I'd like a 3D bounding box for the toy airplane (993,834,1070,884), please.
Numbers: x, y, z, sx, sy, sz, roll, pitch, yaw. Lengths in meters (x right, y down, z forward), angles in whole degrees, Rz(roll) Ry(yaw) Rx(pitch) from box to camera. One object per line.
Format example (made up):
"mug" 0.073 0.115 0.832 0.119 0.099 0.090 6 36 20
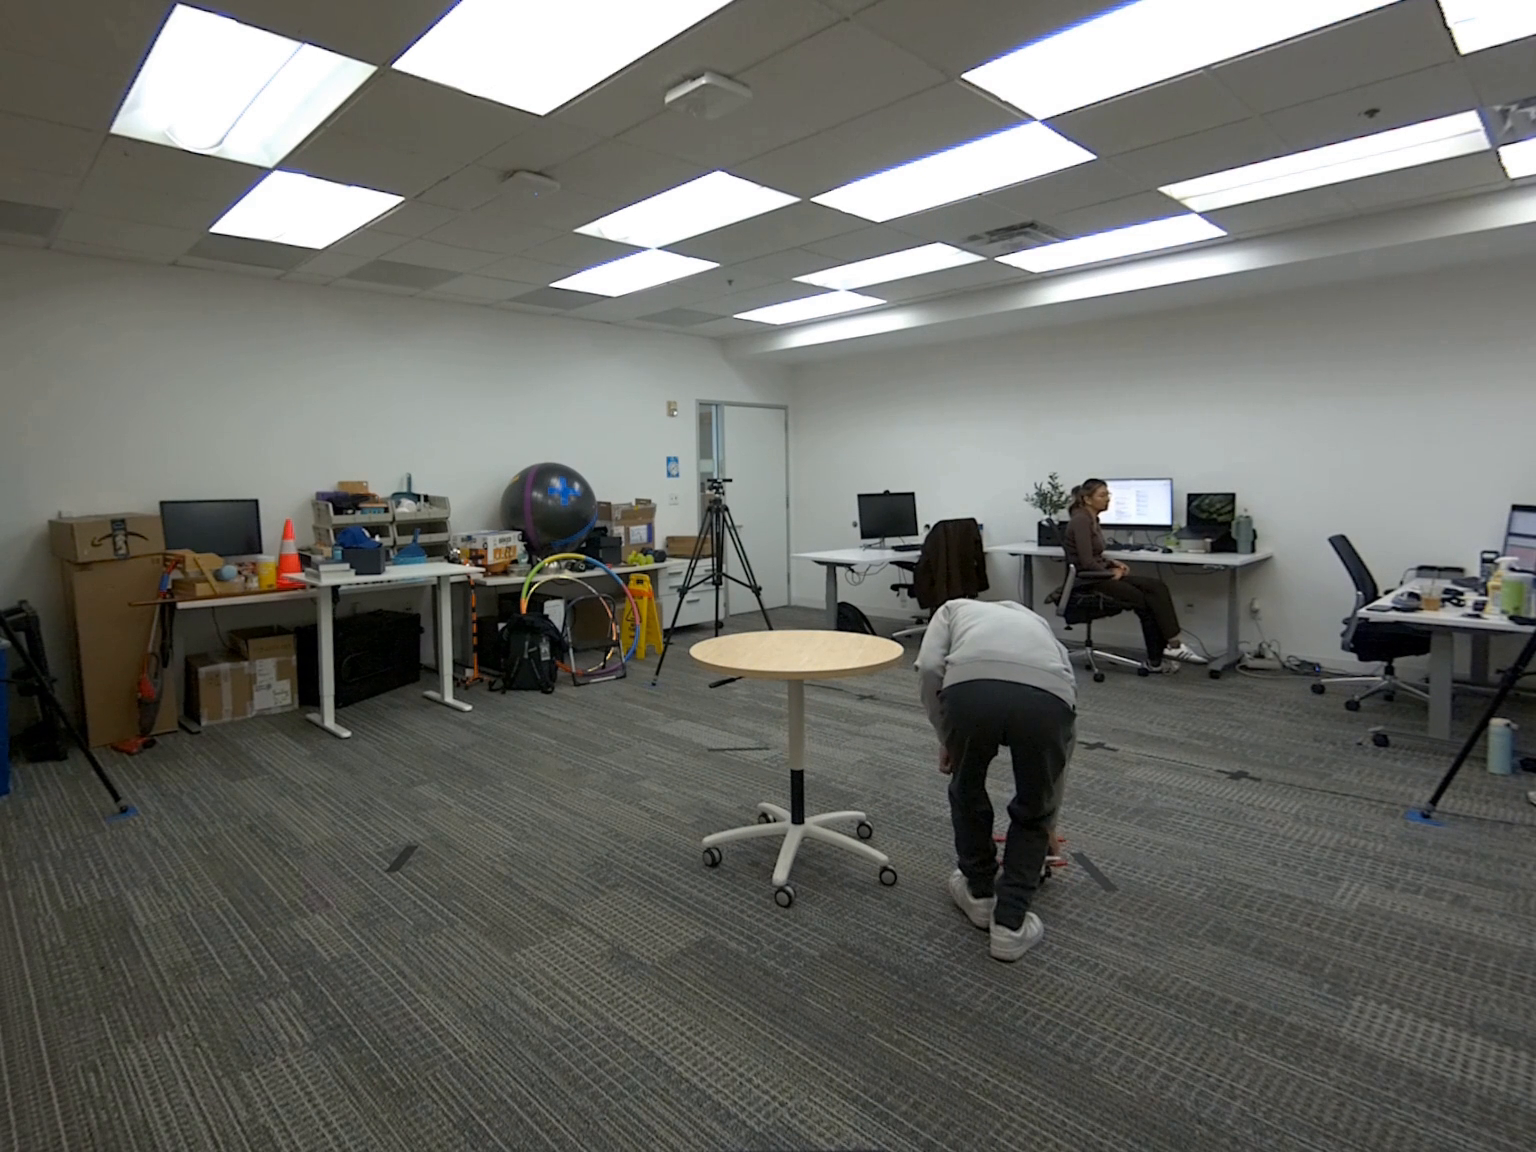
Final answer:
"toy airplane" 0.914 0.948 2.878 0.245 0.160 0.260 13 -29 -23
